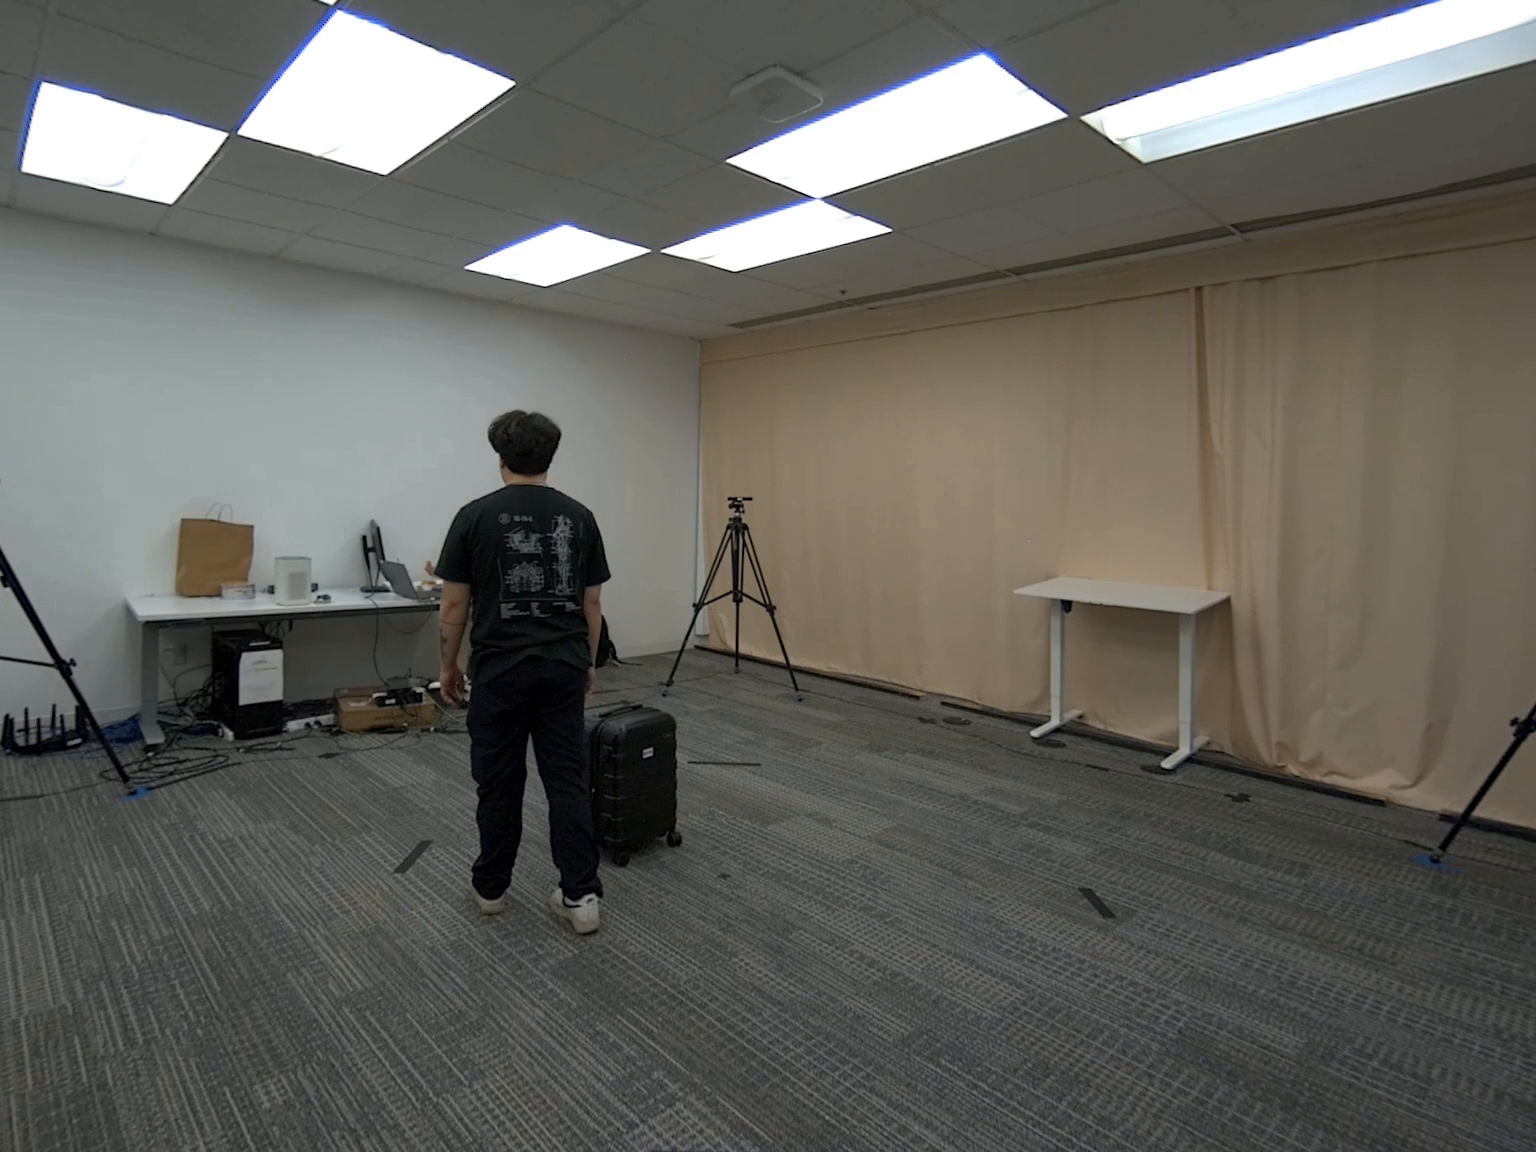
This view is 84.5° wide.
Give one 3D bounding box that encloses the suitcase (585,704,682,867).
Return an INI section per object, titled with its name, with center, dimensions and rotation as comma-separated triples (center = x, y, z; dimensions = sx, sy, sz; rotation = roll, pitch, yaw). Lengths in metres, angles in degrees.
[suitcase]
center = -0.558, 0.803, 3.331
dimensions = 0.254, 0.548, 0.367
rotation = 3, 3, 39
